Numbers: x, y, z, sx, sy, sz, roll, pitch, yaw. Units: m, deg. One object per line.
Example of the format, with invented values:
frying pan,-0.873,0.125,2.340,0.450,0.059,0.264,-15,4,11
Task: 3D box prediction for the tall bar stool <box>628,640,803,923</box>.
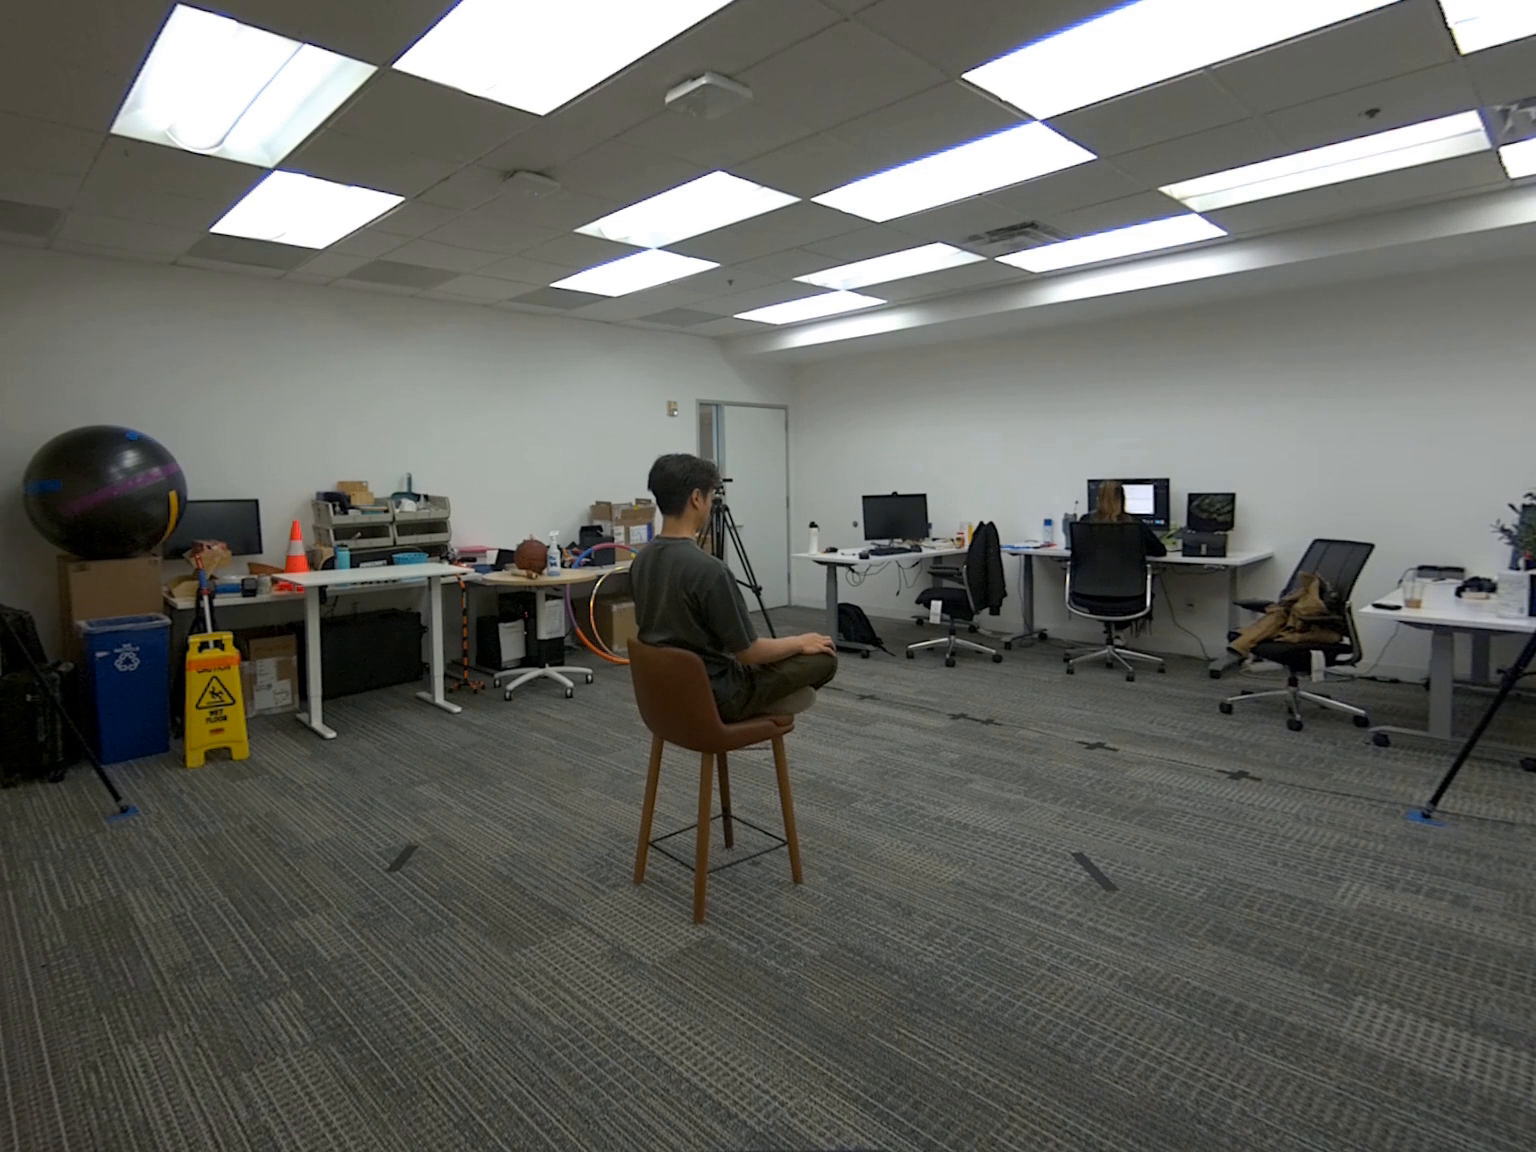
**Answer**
tall bar stool,-0.193,0.631,2.935,0.456,0.885,0.470,-8,8,-40
